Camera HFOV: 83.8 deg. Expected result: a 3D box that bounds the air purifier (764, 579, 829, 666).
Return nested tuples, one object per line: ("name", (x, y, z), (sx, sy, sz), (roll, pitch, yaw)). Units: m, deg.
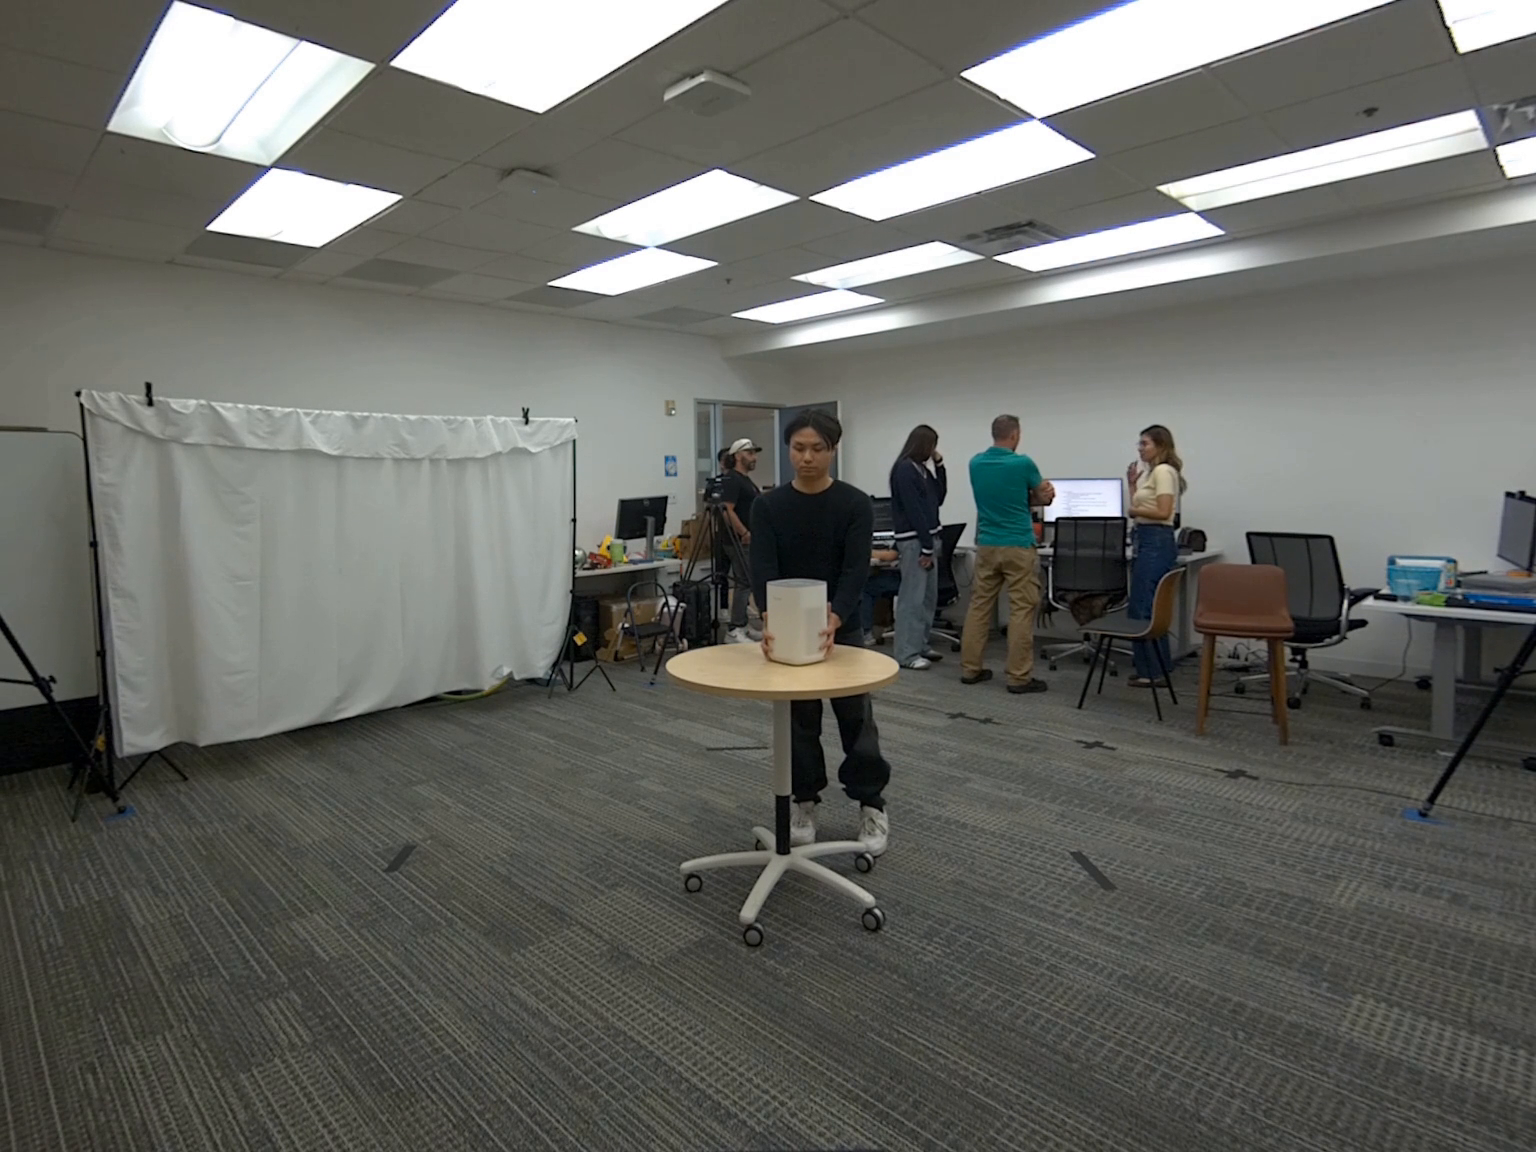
("air purifier", (0.095, 0.153, 2.858), (0.167, 0.264, 0.176), (-3, 6, -44))
